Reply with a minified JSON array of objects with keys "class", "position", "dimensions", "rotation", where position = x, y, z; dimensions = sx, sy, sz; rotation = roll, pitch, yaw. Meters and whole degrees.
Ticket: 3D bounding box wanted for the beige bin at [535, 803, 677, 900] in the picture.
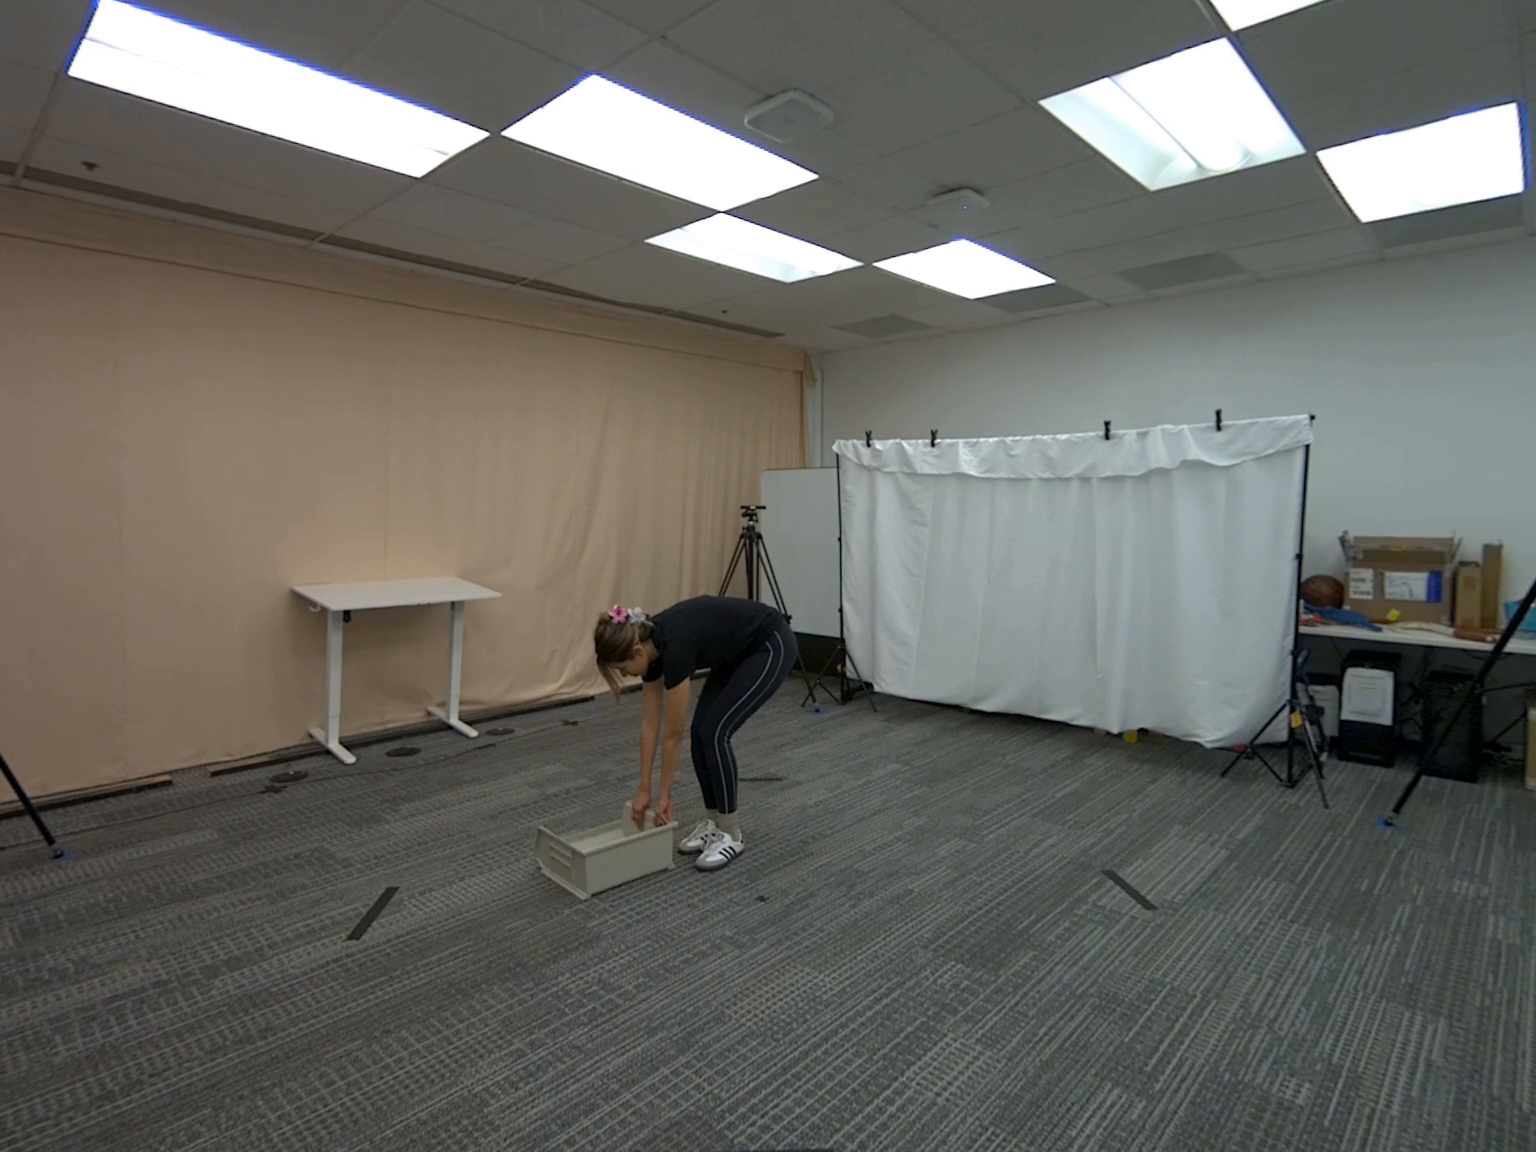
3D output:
[{"class":"beige bin","position":[-0.628,1.035,3.244],"dimensions":[0.409,0.188,0.390],"rotation":[-3,7,-42]}]
